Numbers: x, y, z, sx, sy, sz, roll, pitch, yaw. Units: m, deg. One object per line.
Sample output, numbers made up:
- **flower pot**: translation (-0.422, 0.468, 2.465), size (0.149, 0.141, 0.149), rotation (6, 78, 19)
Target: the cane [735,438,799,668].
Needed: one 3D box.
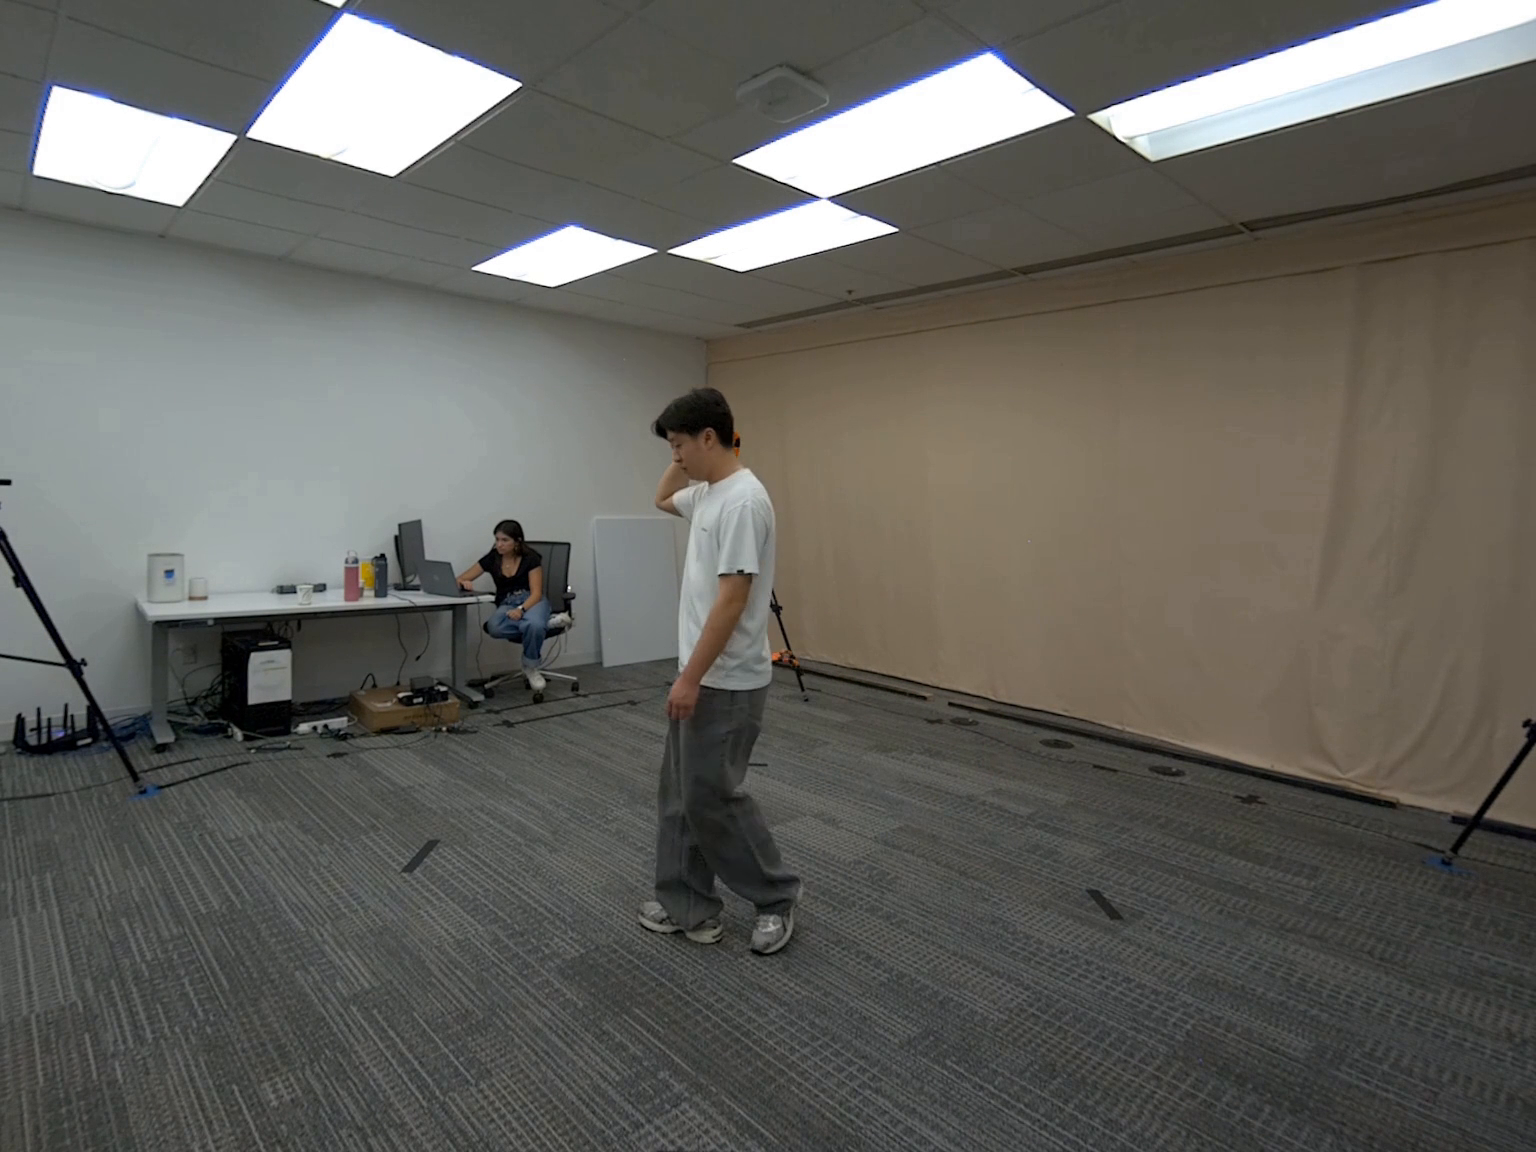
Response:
- **cane**: translation (-0.081, -0.075, 2.880), size (0.205, 0.898, 0.154), rotation (-12, 13, -11)
